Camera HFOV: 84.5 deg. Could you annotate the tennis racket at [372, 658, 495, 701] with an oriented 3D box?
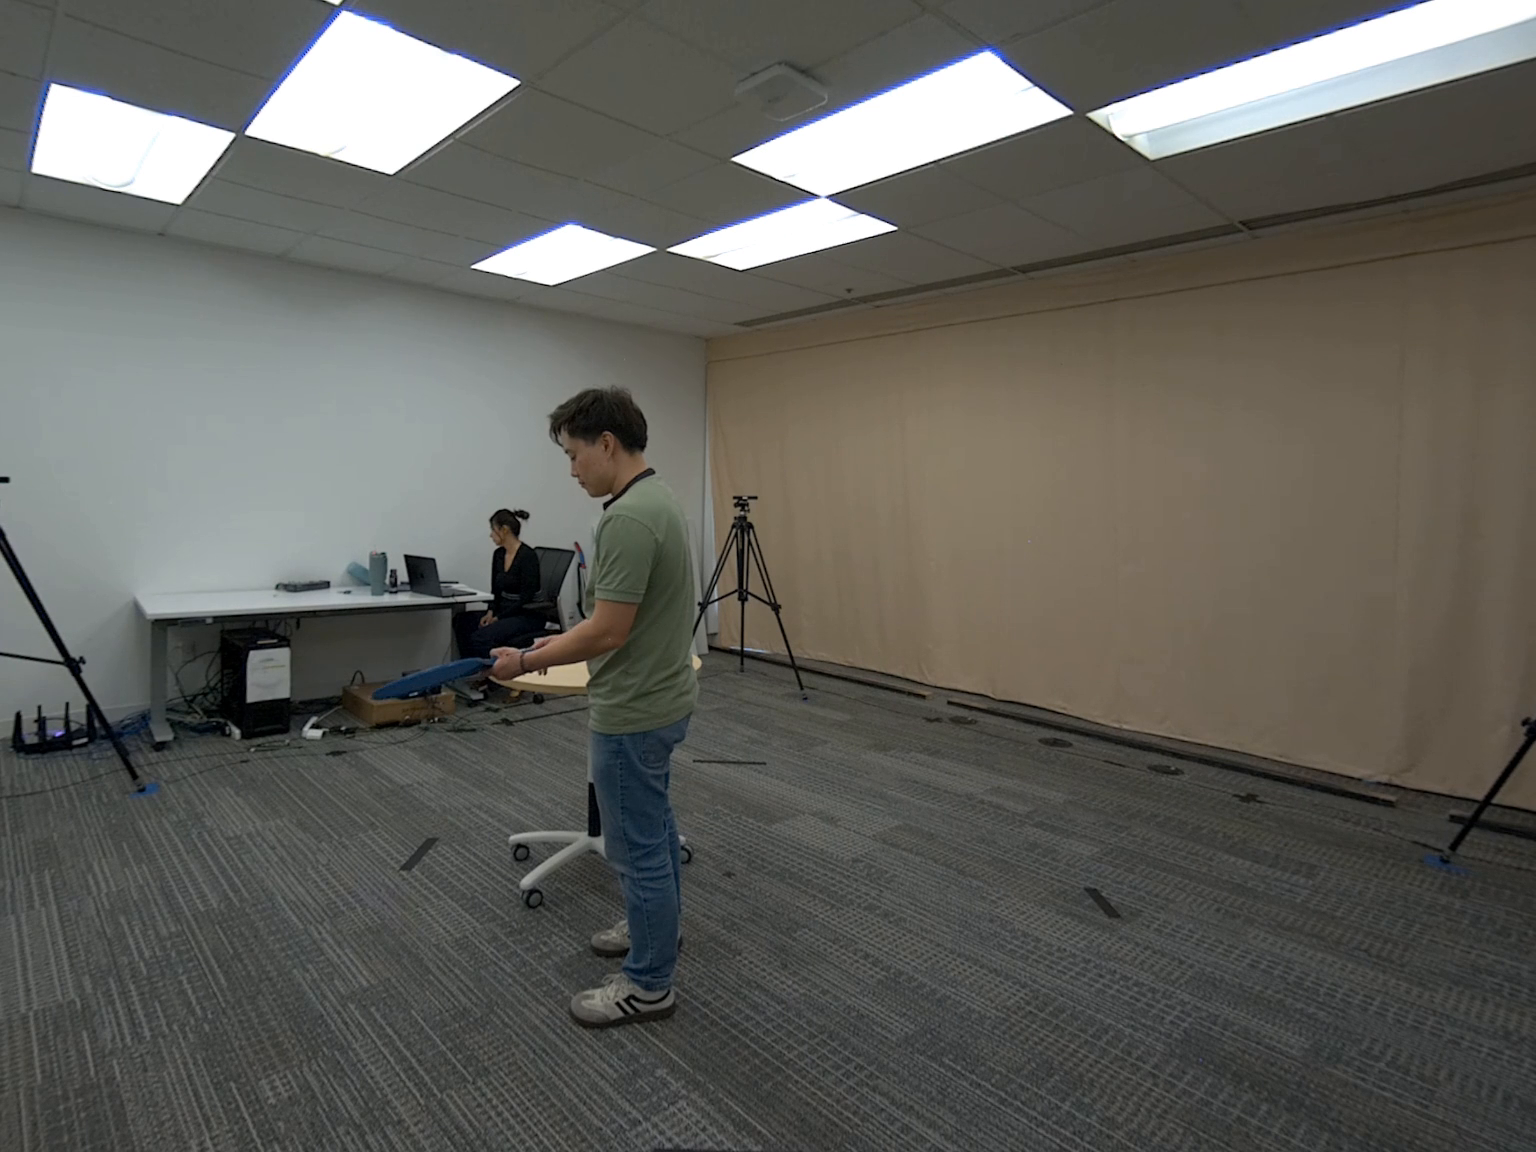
[{"bbox_3d":[-0.736,0.226,2.042,0.215,0.032,0.425,-26,-7,26],"label":"tennis racket"}]
